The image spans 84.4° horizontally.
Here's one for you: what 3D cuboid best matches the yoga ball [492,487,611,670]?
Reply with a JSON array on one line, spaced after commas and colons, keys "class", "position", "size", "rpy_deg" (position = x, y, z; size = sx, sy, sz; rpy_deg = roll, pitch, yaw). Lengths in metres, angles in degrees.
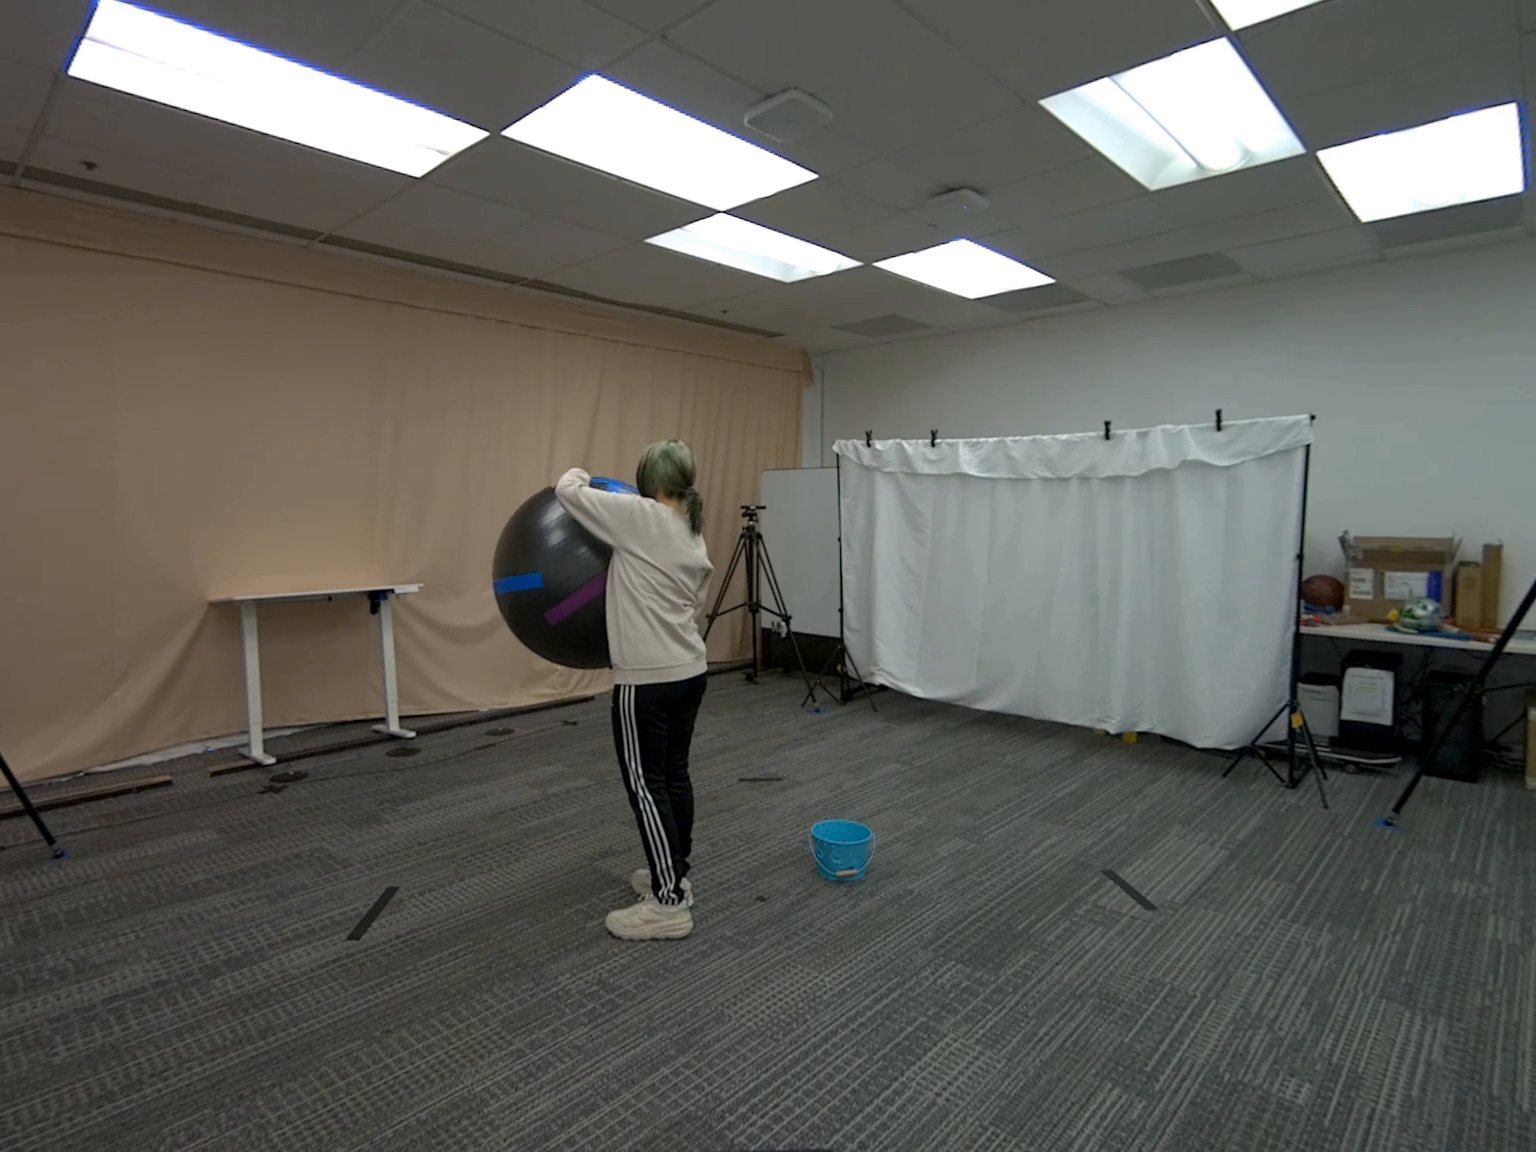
[{"class": "yoga ball", "position": [-0.702, -0.004, 3.317], "size": [0.757, 0.756, 0.761], "rpy_deg": [0, 4, -2]}]
